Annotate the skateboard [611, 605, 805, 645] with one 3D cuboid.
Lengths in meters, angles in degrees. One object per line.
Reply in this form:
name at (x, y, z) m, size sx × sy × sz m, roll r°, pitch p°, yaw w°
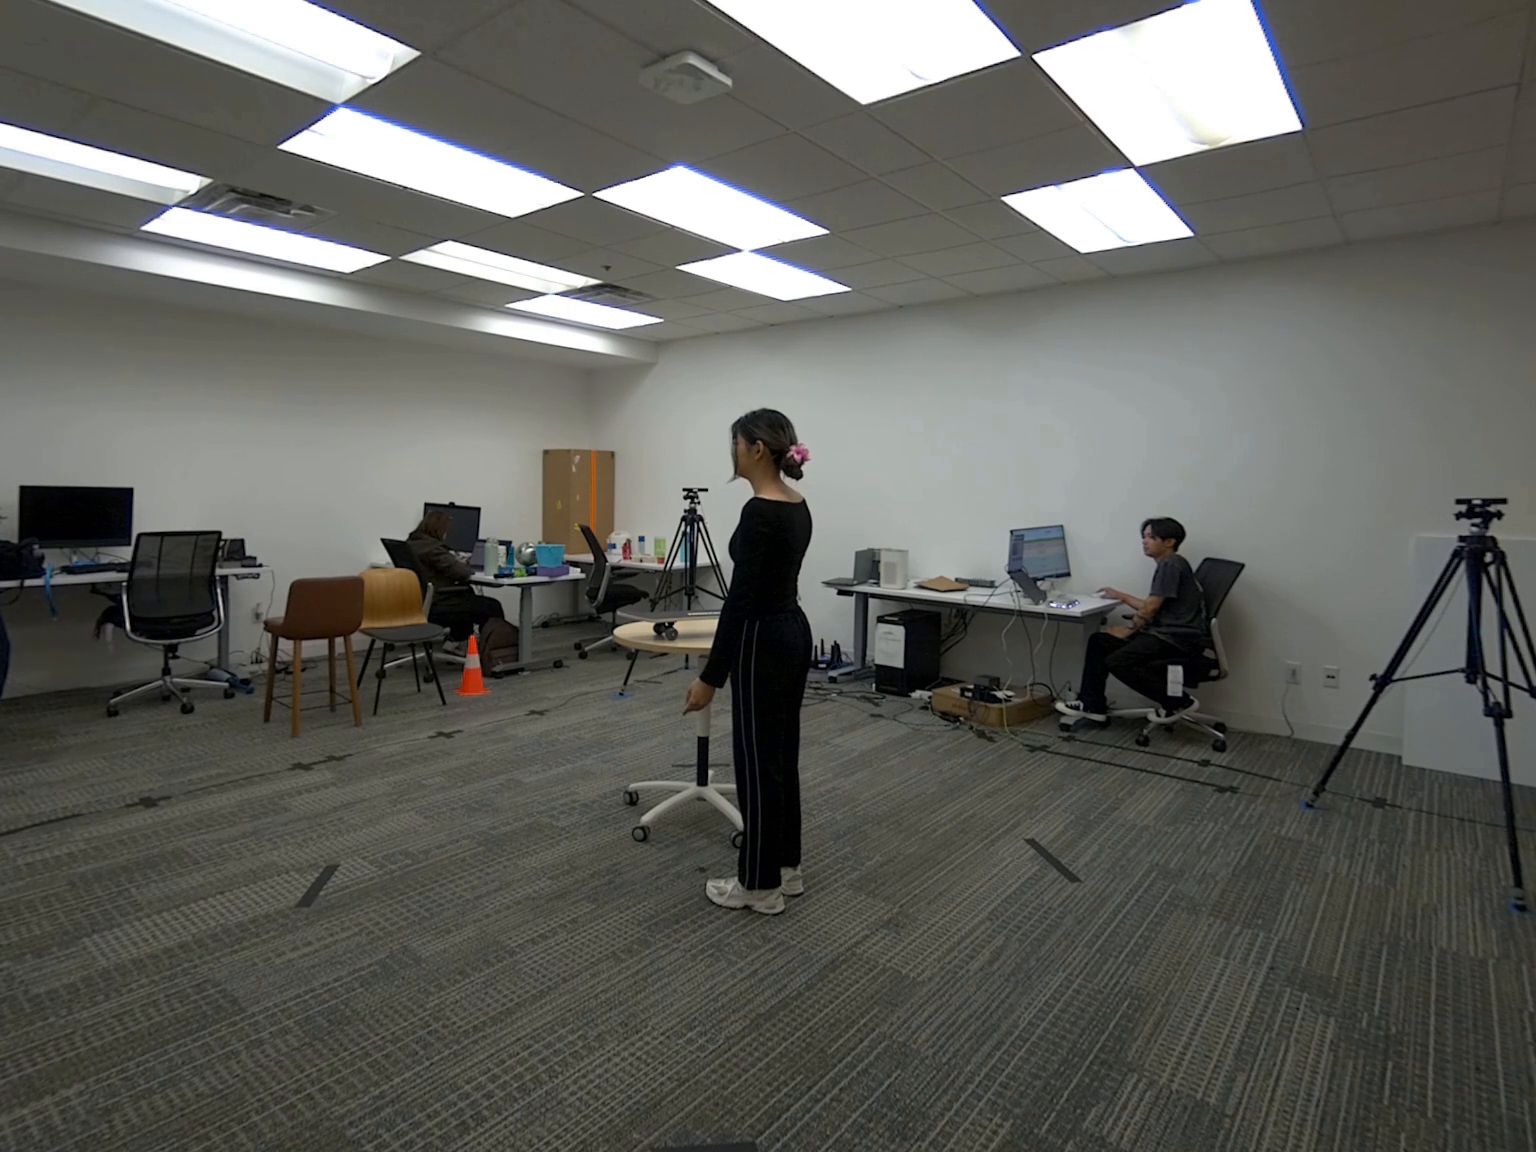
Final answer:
skateboard at (-0.243, 0.189, 3.488) m, size 0.768 × 0.110 × 0.198 m, roll -1°, pitch 5°, yaw -23°
